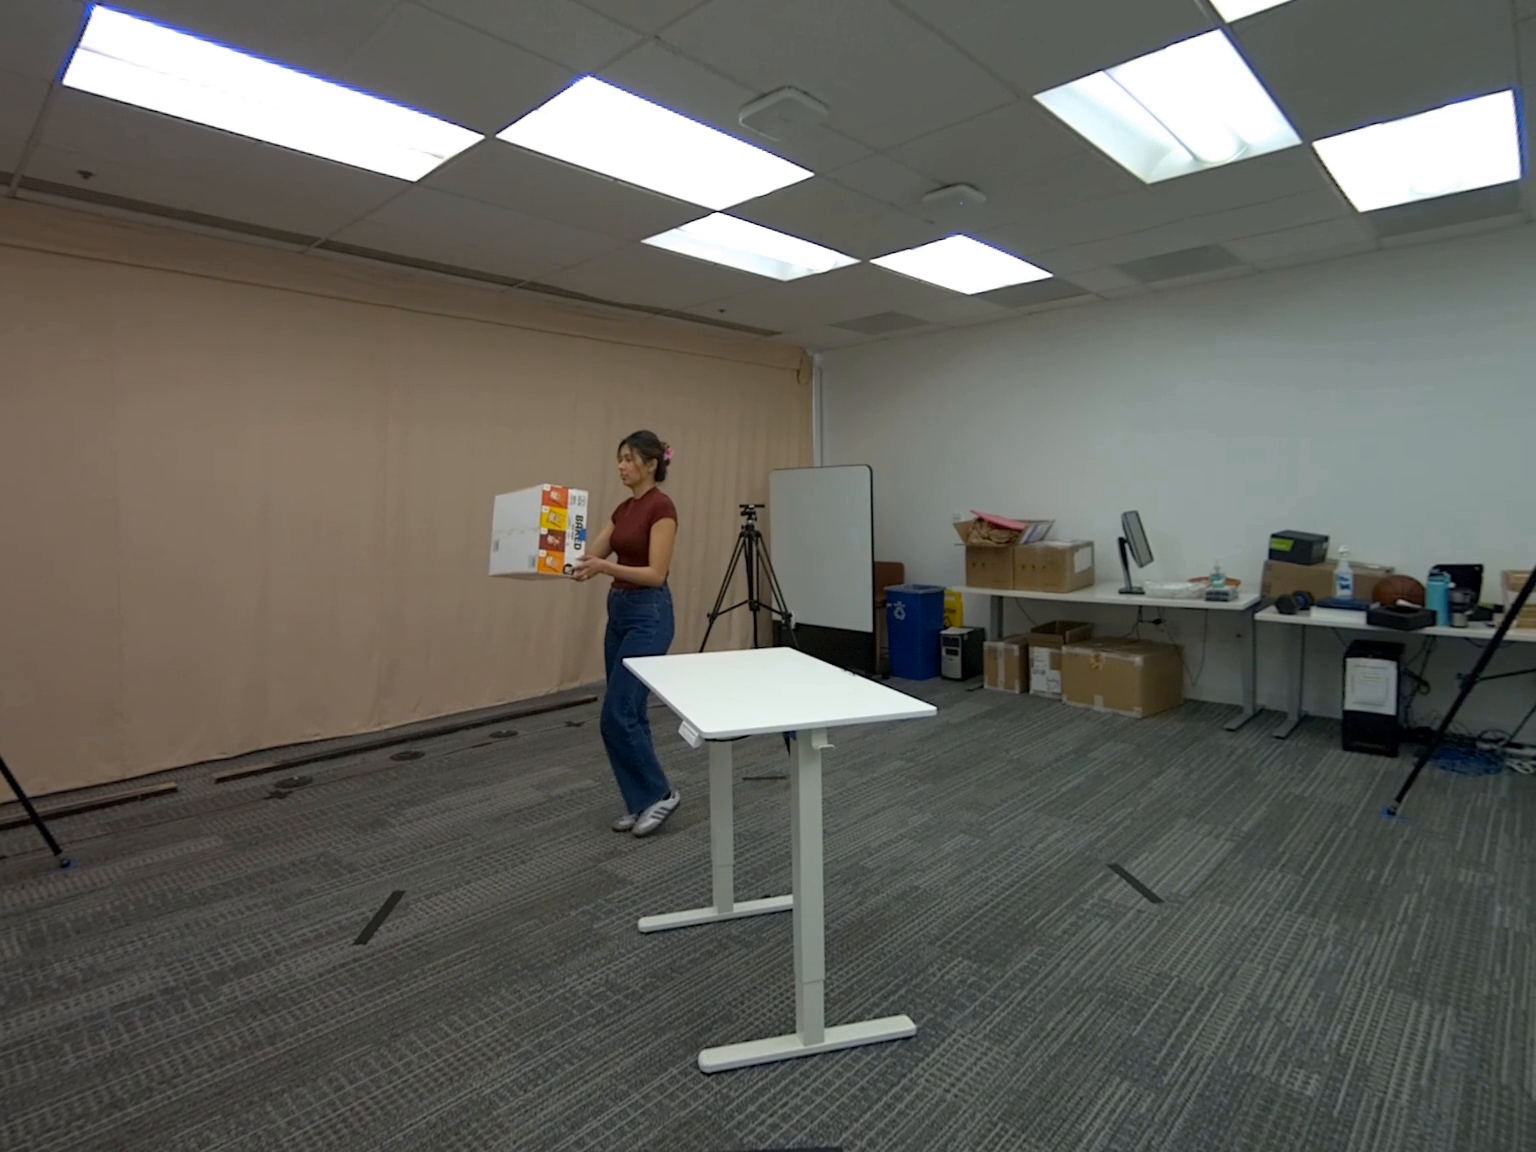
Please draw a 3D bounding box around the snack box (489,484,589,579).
[{"bbox_3d":[-0.919,-0.164,3.364,0.199,0.342,0.417,10,-10,-42],"label":"snack box"}]
